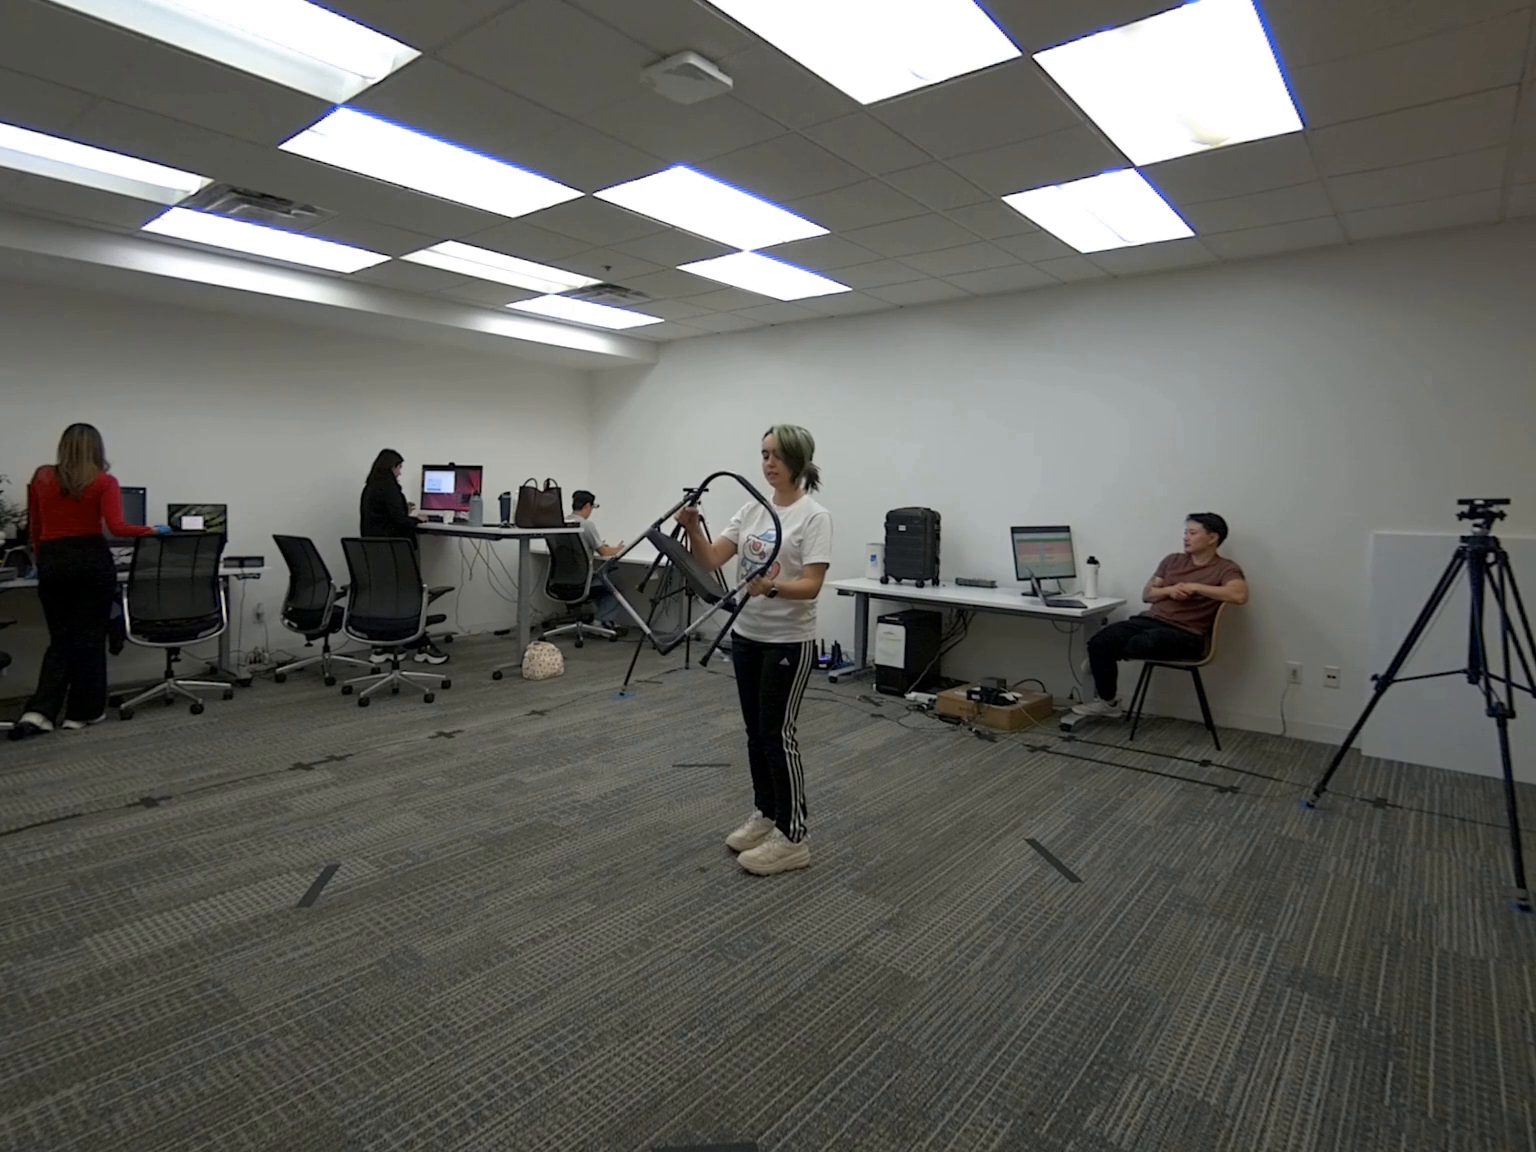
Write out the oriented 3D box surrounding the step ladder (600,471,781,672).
[{"bbox_3d":[-0.227,-0.066,3.010,0.445,0.606,0.338,46,8,23],"label":"step ladder"}]
